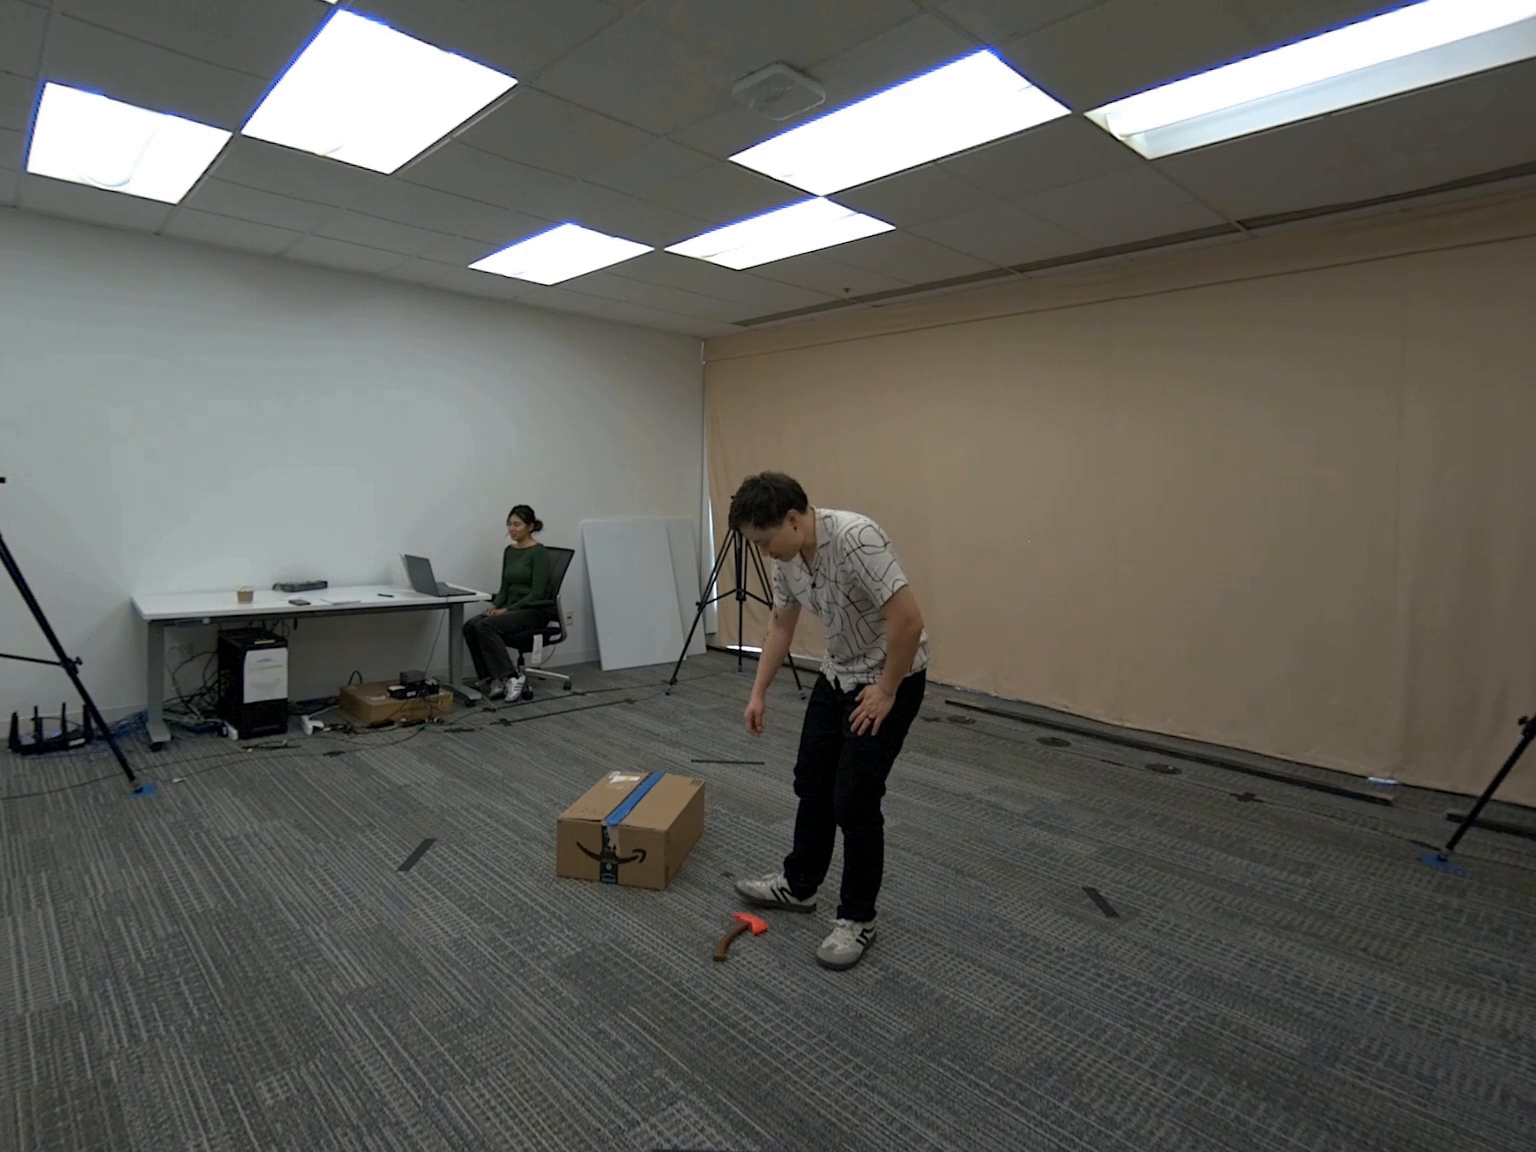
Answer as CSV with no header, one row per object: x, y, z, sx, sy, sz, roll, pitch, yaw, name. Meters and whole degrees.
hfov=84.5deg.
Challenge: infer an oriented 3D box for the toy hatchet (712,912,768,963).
-0.083,1.134,2.632,0.132,0.029,0.268,5,6,12,toy hatchet
